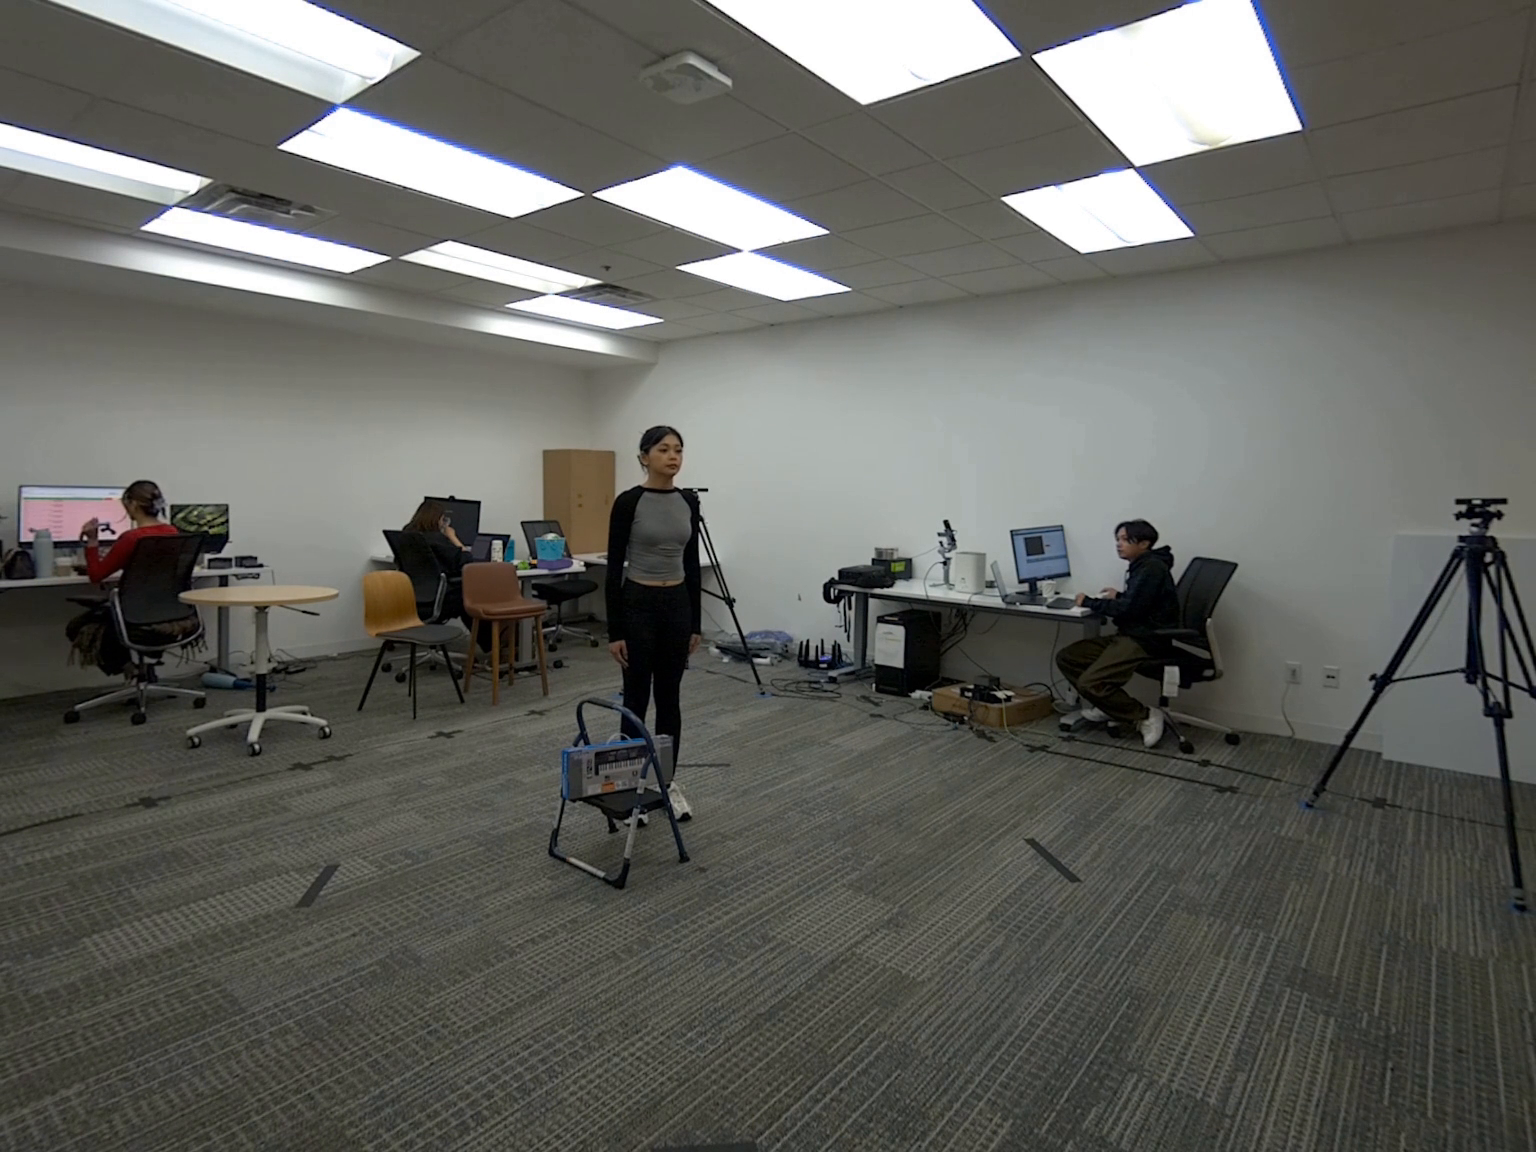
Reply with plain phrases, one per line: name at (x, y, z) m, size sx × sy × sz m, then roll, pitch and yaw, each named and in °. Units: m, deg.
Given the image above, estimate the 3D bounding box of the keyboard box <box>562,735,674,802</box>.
keyboard box at (-0.575, 0.707, 3.178) m, size 0.424 × 0.176 × 0.060 m, roll -2°, pitch -2°, yaw -33°
